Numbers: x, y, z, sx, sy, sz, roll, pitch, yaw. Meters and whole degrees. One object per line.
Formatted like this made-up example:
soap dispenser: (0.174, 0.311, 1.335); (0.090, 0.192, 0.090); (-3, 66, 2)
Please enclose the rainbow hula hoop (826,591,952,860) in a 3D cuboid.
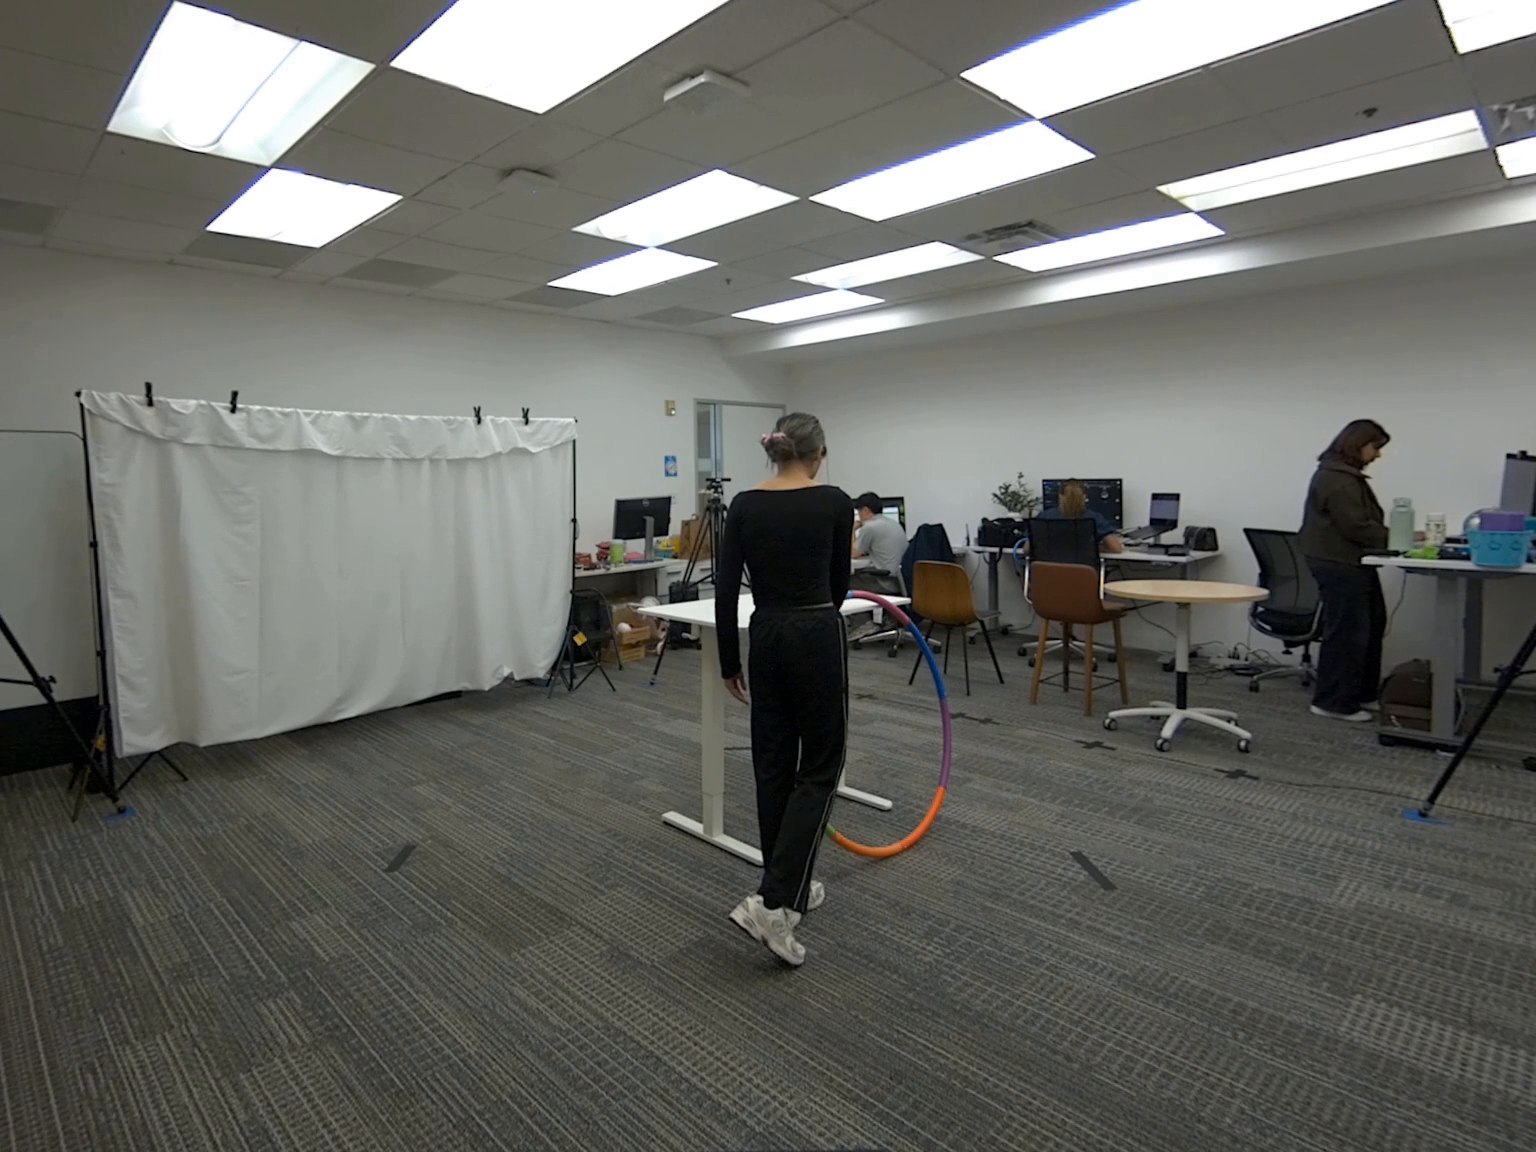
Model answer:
rainbow hula hoop: (0.406, 0.546, 3.248); (0.953, 0.986, 0.036); (-6, -9, -45)
